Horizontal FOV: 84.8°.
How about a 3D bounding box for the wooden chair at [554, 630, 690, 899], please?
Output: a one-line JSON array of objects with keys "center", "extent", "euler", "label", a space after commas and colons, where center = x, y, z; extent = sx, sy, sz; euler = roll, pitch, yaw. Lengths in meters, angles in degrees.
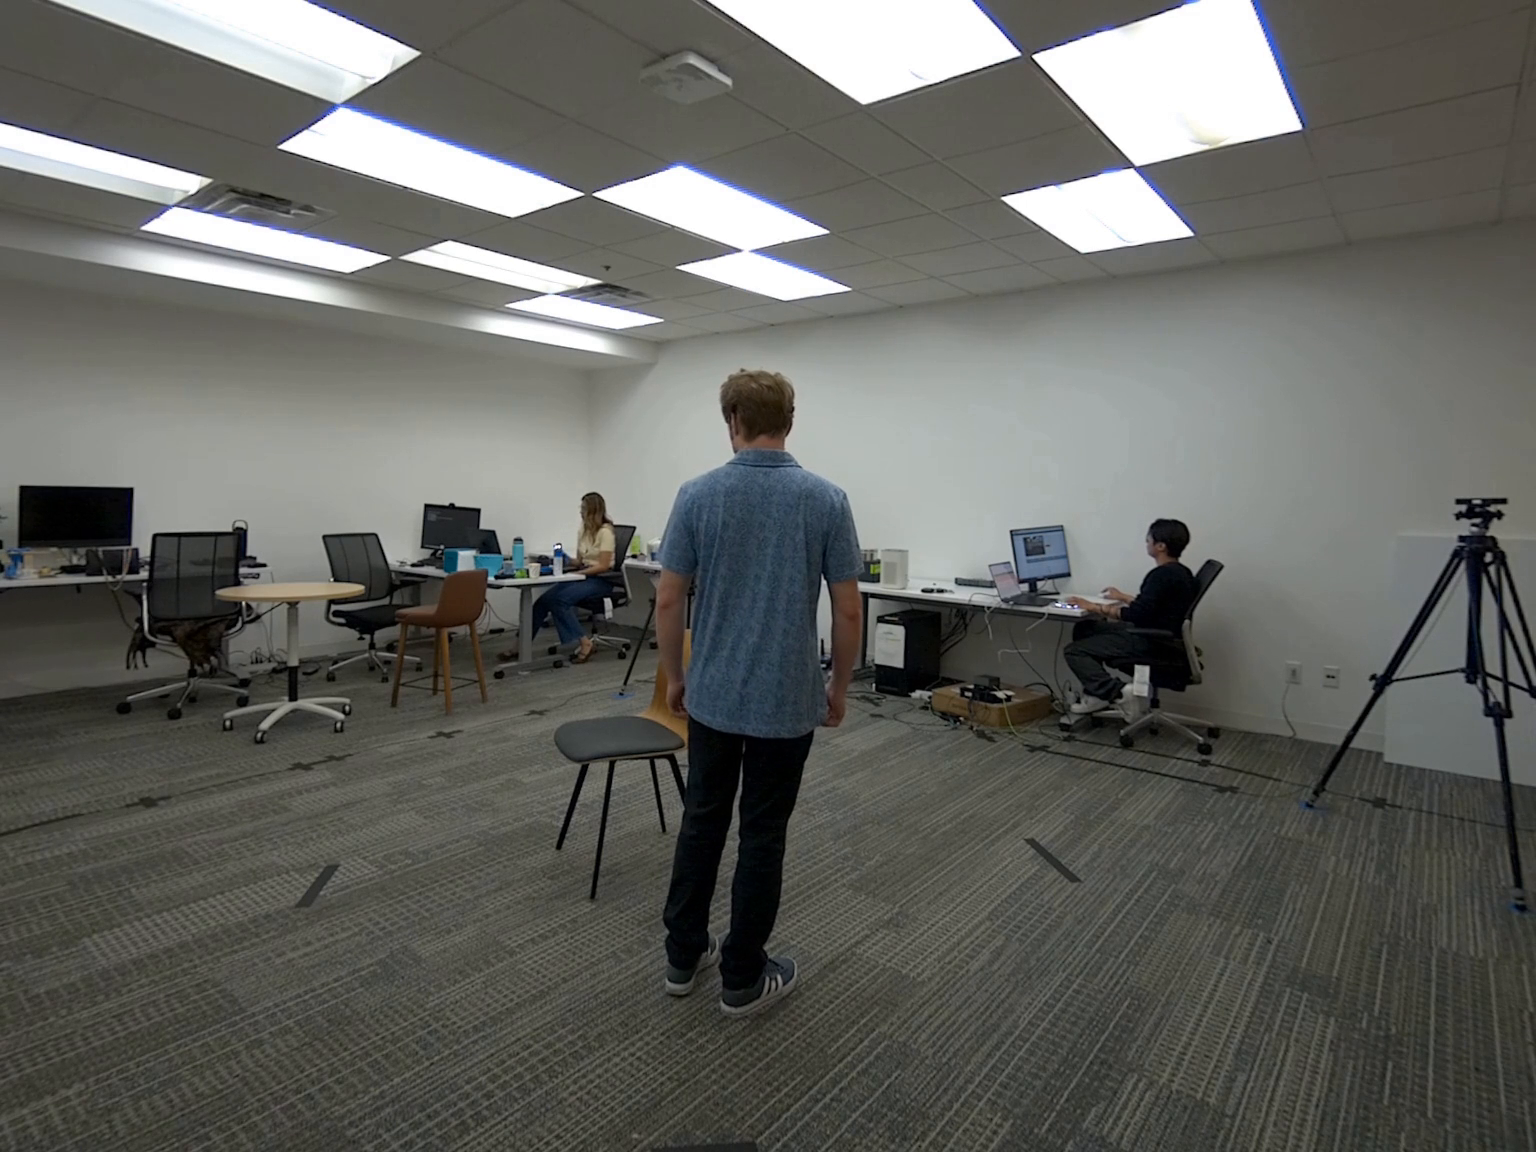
[{"center": [-0.516, 0.637, 3.125], "extent": [0.509, 0.876, 0.492], "euler": [4, 2, -28], "label": "wooden chair"}]
